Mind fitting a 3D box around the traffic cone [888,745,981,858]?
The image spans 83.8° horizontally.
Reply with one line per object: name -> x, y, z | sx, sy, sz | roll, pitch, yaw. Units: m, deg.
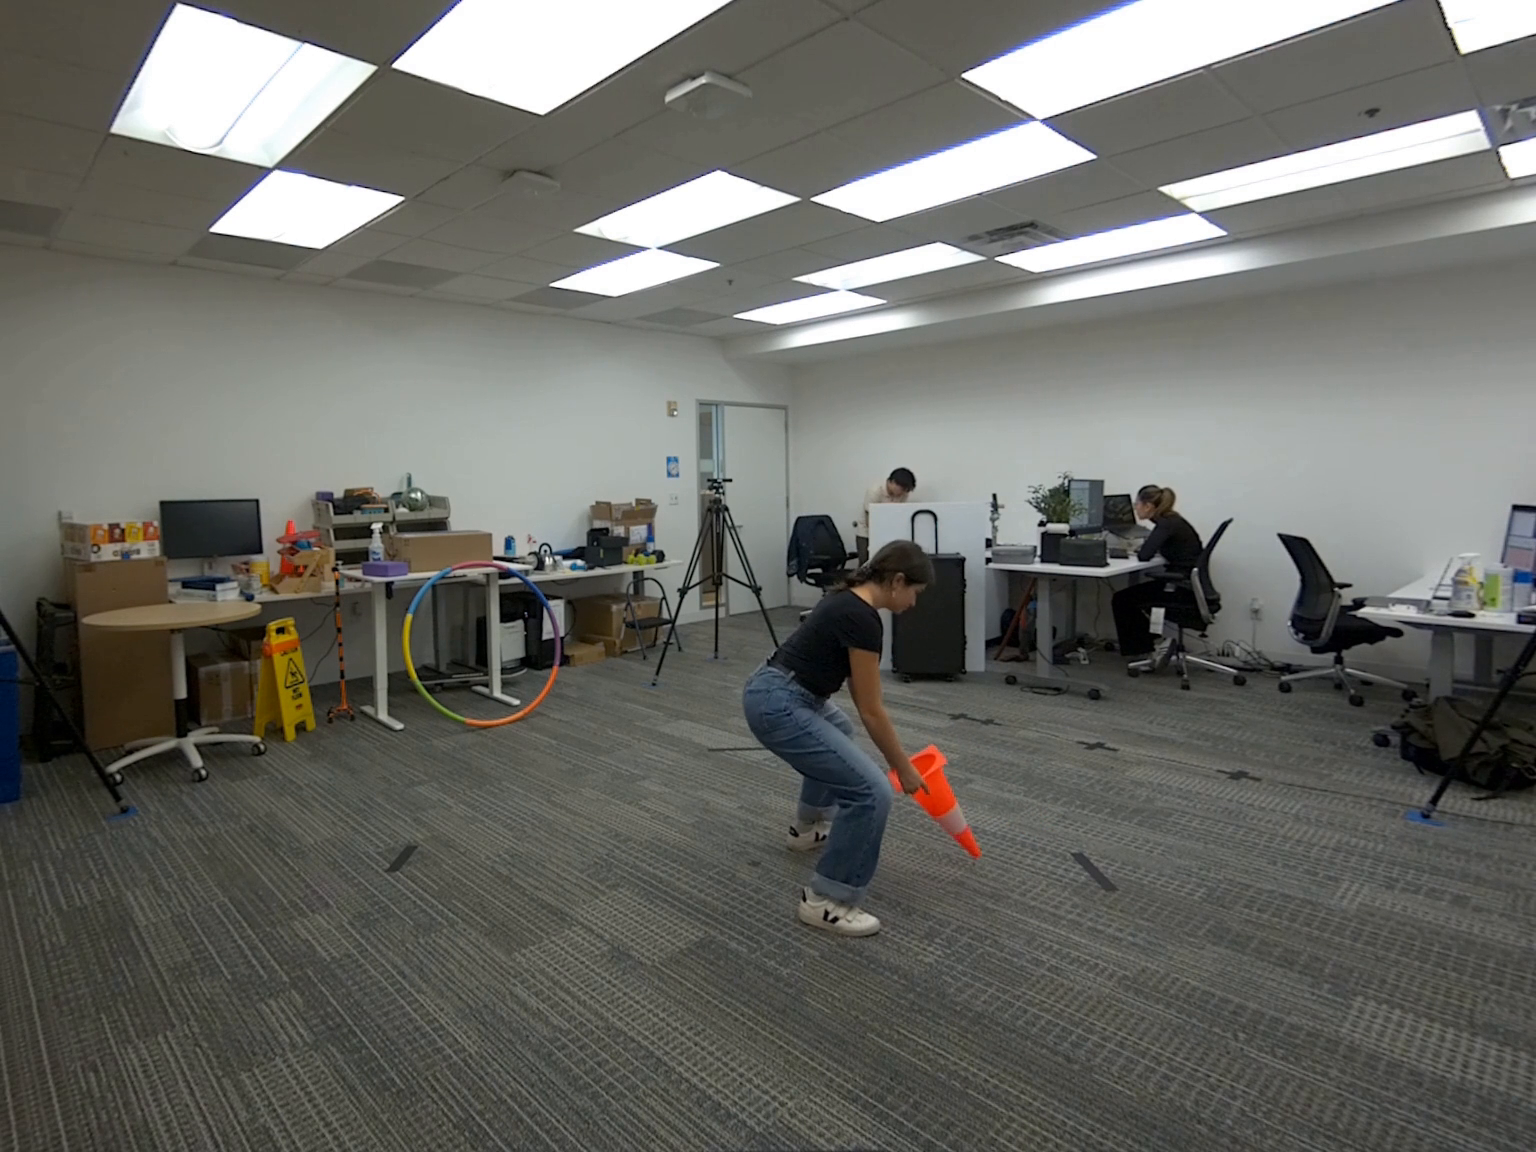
traffic cone -> 0.626, 0.814, 2.949 | 0.205, 0.381, 0.205 | -36, 6, -2
